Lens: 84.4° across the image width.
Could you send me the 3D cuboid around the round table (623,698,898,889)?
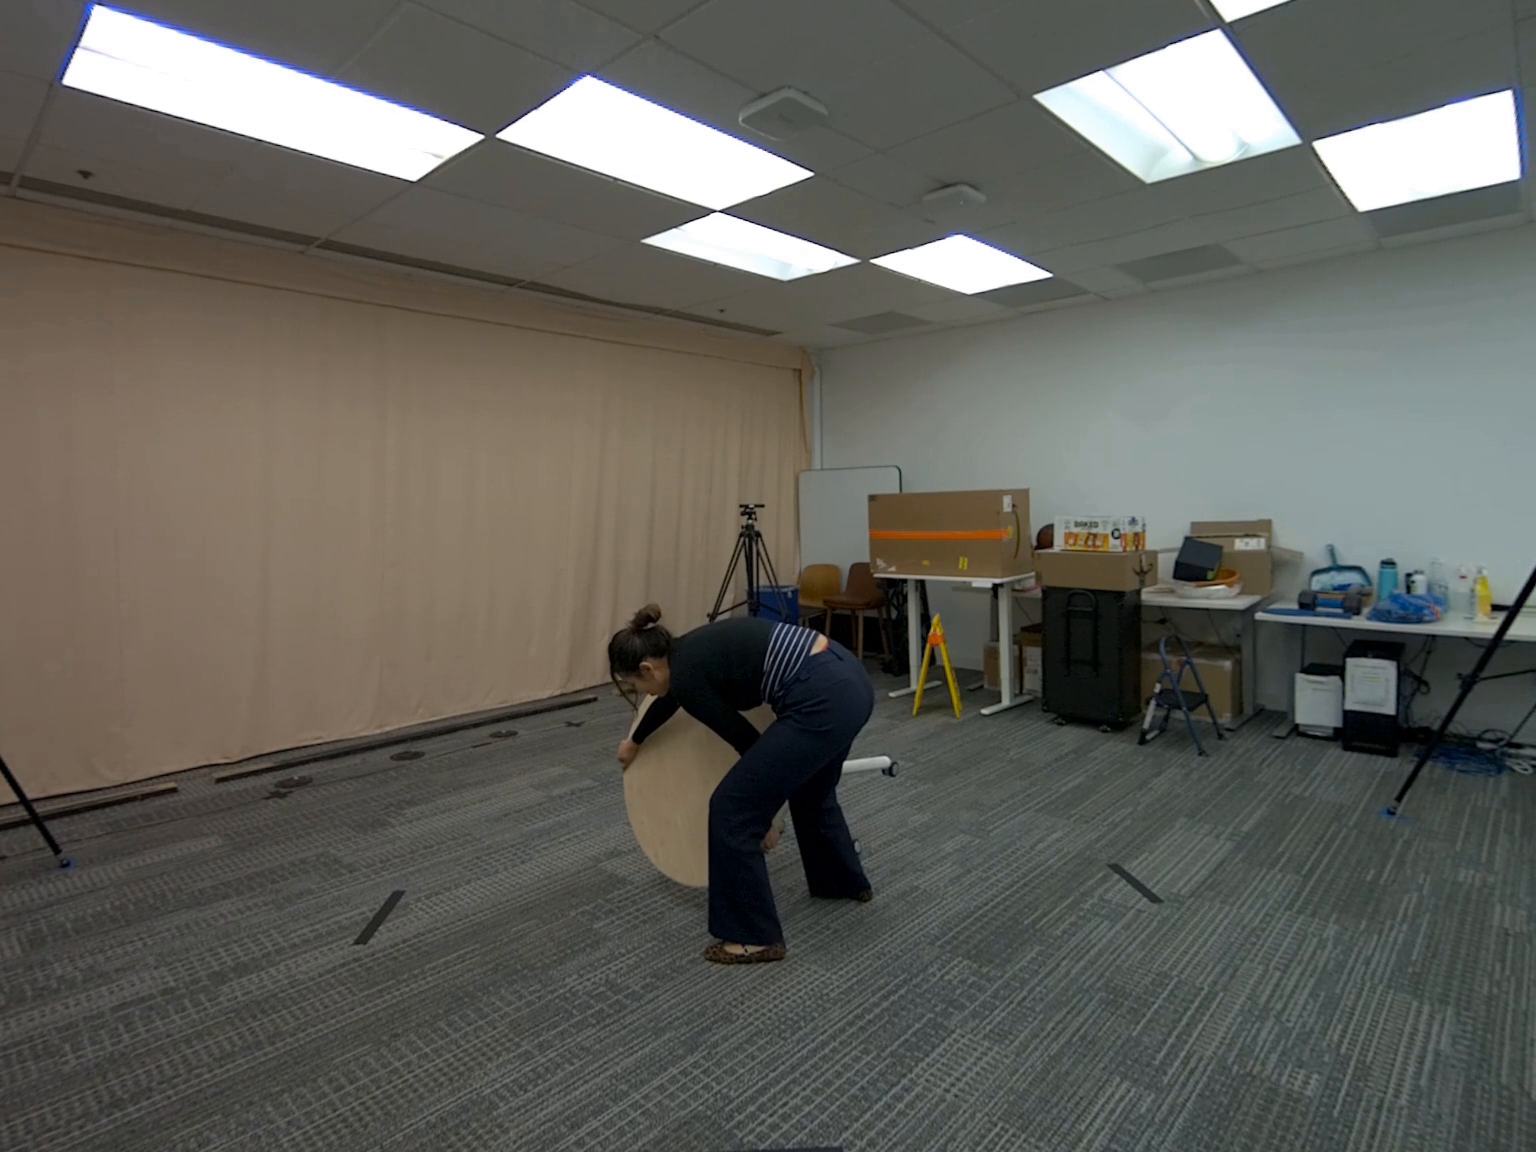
[{"bbox_3d":[0.000,0.755,3.219,0.789,0.766,0.765,3,-10,42],"label":"round table"}]
